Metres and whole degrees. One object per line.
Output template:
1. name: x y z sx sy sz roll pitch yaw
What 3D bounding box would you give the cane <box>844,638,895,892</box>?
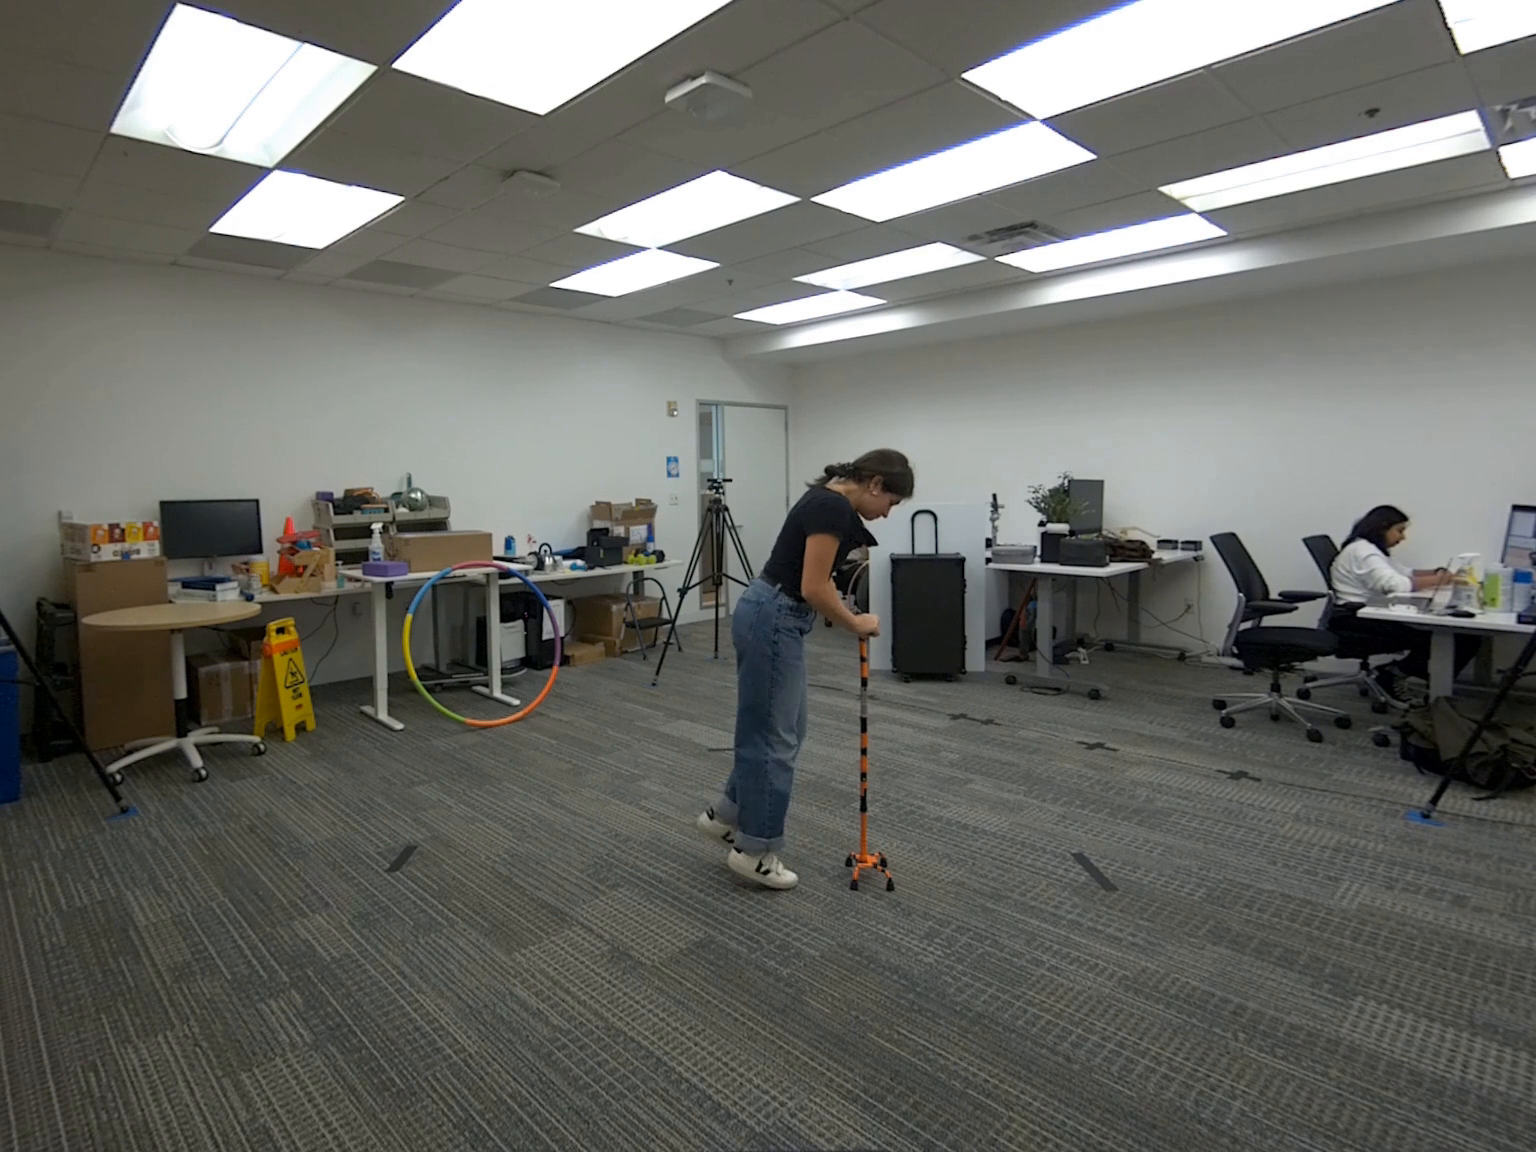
1. cane: 0.346 0.597 2.953 0.152 0.905 0.207 -1 4 1
